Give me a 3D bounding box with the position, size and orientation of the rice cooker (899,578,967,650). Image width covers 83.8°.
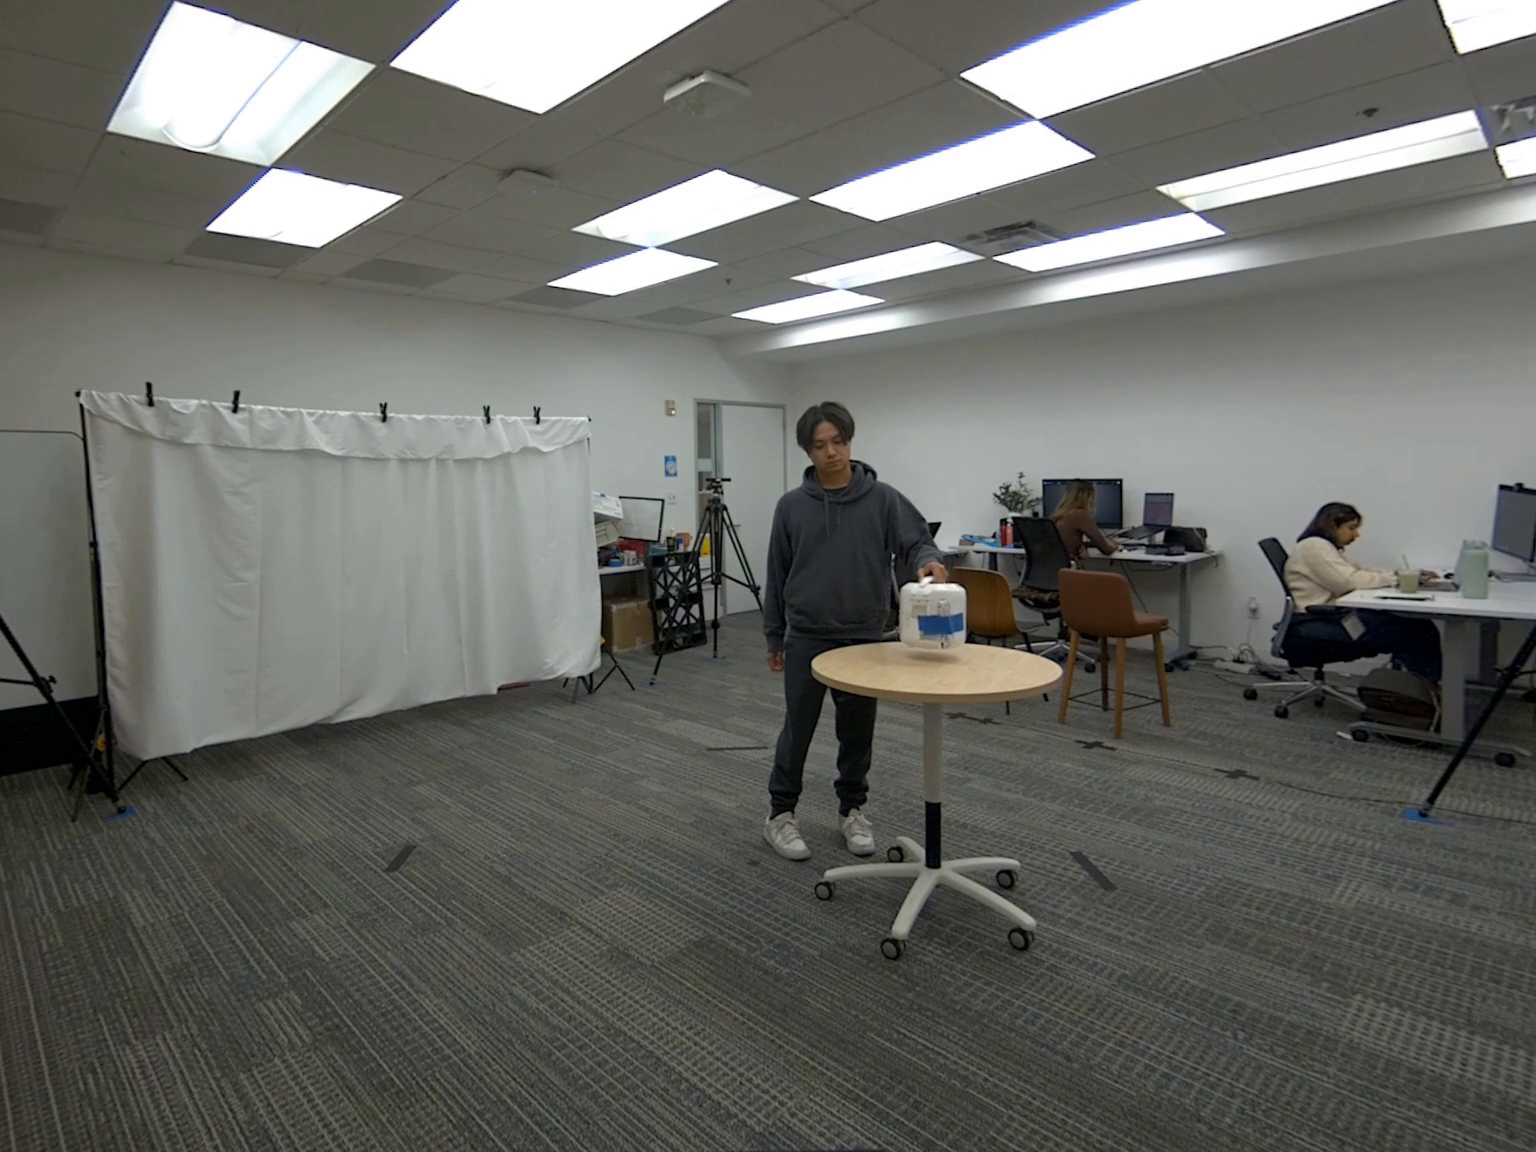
[{"bbox_3d":[0.526,0.119,2.798,0.223,0.233,0.214,1,0,35],"label":"rice cooker"}]
